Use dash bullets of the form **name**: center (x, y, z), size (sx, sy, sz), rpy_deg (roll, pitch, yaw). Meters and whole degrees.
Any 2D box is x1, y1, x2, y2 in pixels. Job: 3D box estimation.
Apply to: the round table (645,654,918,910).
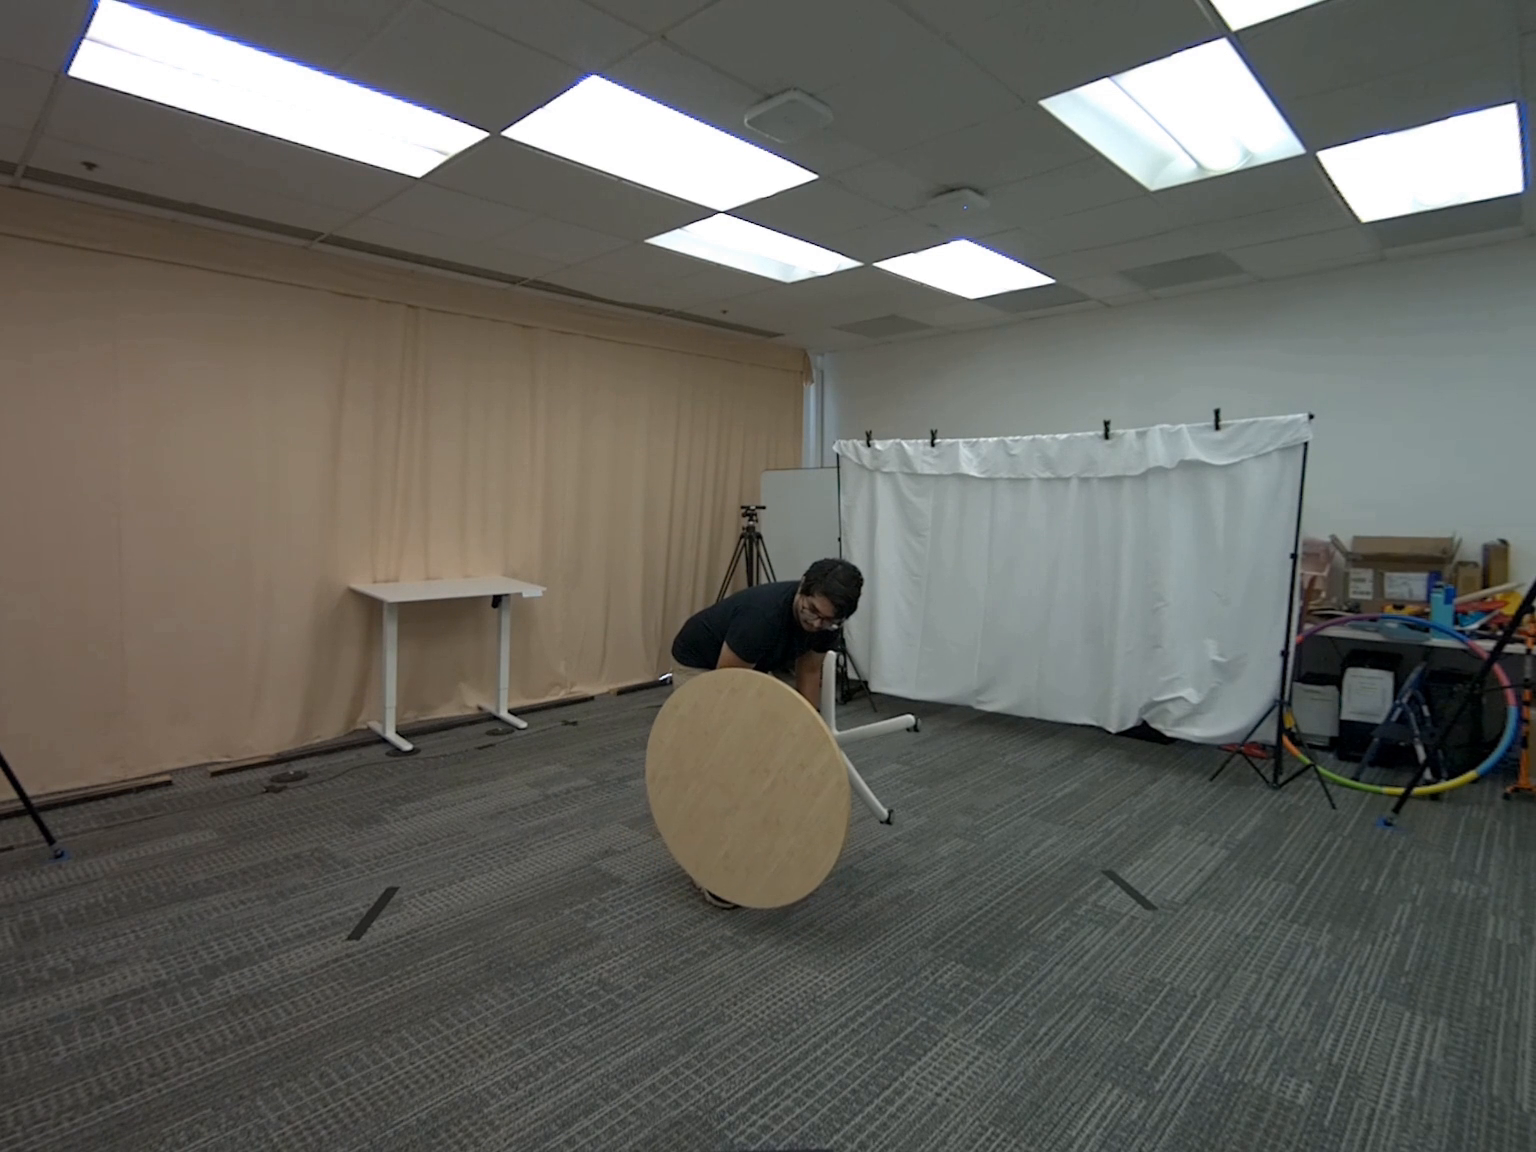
- **round table**: center (0.108, 0.665, 3.054), size (0.808, 0.784, 0.765), rpy_deg (2, 4, 31)
